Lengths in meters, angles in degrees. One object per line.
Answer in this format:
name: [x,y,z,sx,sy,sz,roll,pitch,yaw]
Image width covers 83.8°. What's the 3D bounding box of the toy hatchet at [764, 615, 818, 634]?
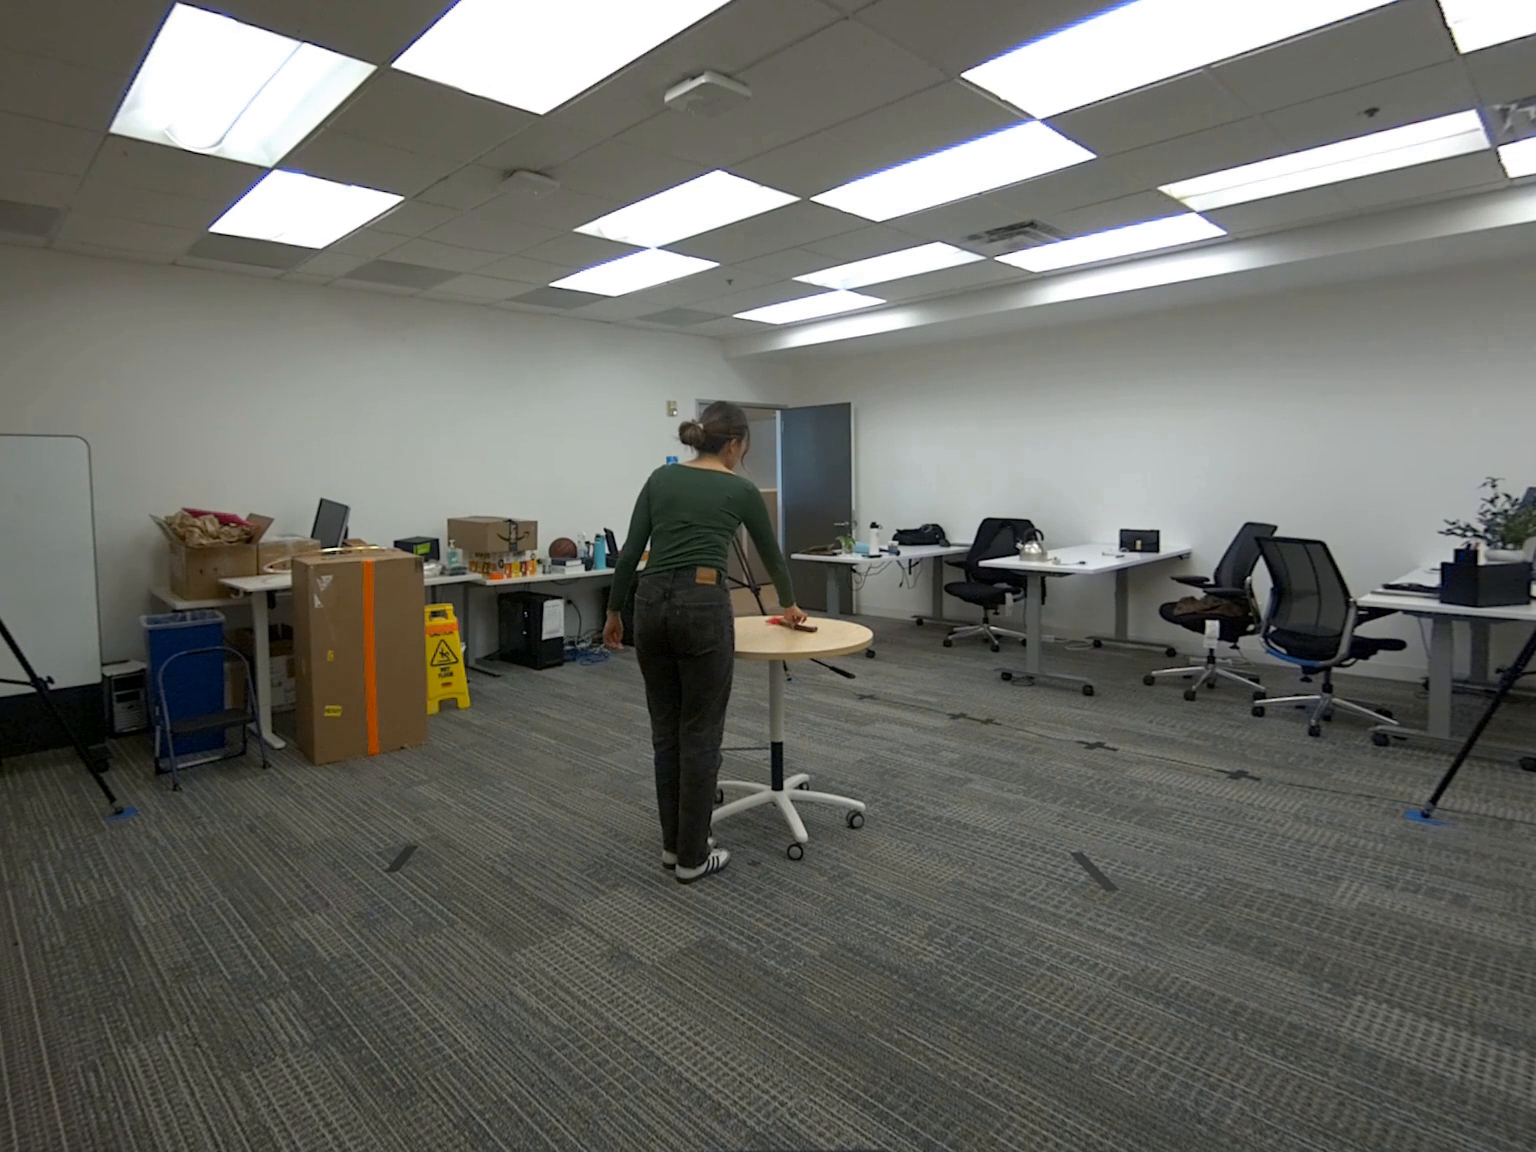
toy hatchet: [0.125,0.197,3.525,0.128,0.029,0.279,-12,14,-43]
